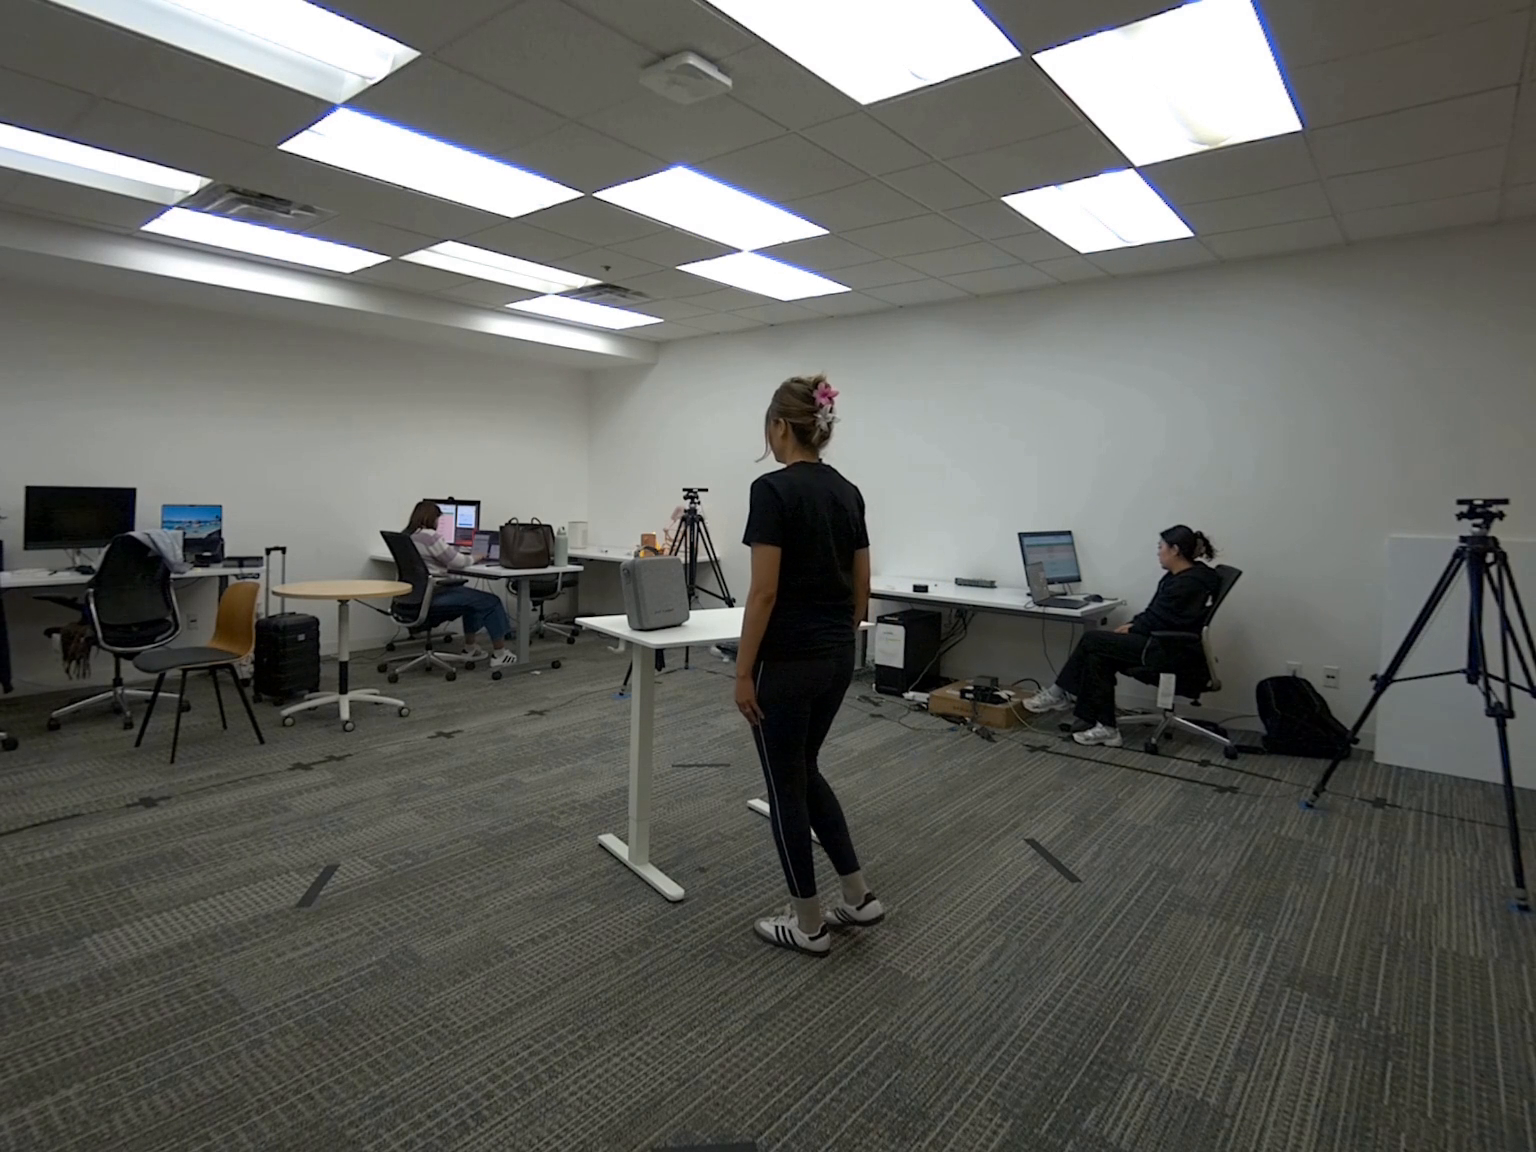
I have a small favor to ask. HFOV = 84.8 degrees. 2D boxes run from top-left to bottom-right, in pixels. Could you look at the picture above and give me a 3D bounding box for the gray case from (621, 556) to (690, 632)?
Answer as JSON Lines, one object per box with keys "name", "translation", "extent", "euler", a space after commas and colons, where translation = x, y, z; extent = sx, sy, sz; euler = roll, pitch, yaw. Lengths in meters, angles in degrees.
{"name": "gray case", "translation": [-0.420, 0.052, 3.079], "extent": [0.107, 0.262, 0.249], "euler": [-13, -6, 35]}
